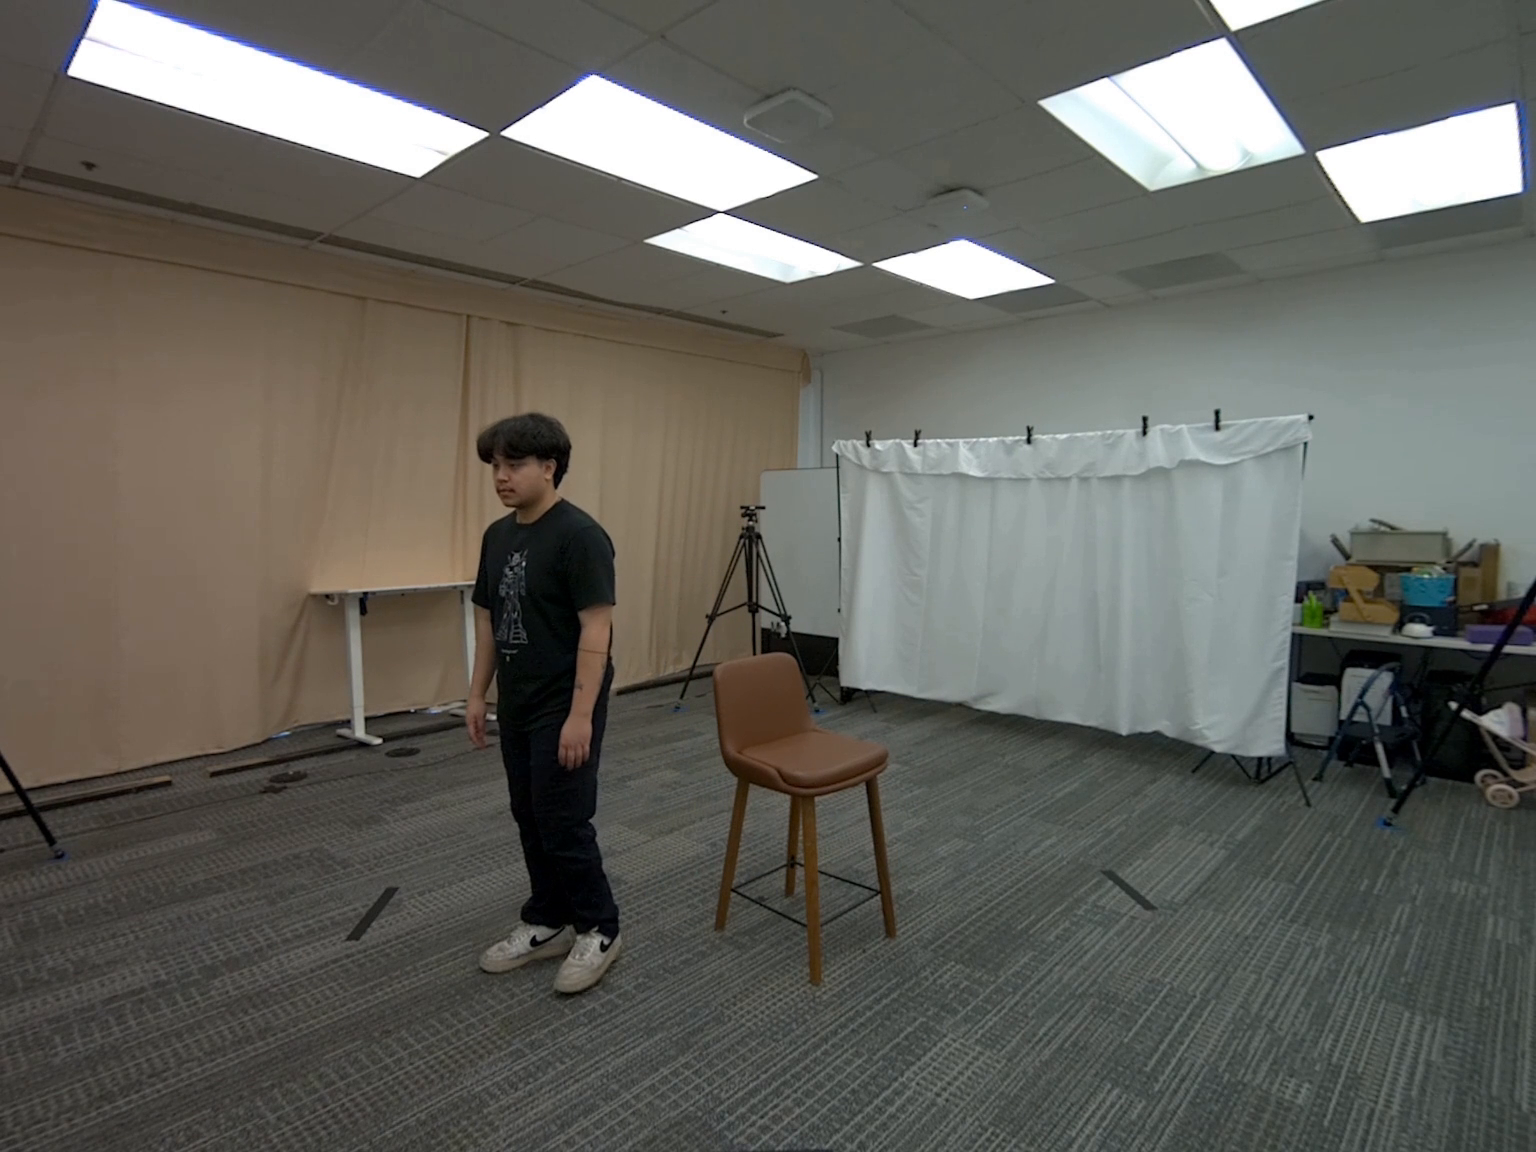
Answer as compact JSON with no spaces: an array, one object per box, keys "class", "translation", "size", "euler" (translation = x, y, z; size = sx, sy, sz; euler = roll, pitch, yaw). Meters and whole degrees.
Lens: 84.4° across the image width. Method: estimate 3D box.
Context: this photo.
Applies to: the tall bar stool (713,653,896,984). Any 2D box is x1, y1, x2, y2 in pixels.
[{"class":"tall bar stool","translation":[0.120,0.734,2.725],"size":[0.483,0.888,0.442],"euler":[1,4,44]}]
